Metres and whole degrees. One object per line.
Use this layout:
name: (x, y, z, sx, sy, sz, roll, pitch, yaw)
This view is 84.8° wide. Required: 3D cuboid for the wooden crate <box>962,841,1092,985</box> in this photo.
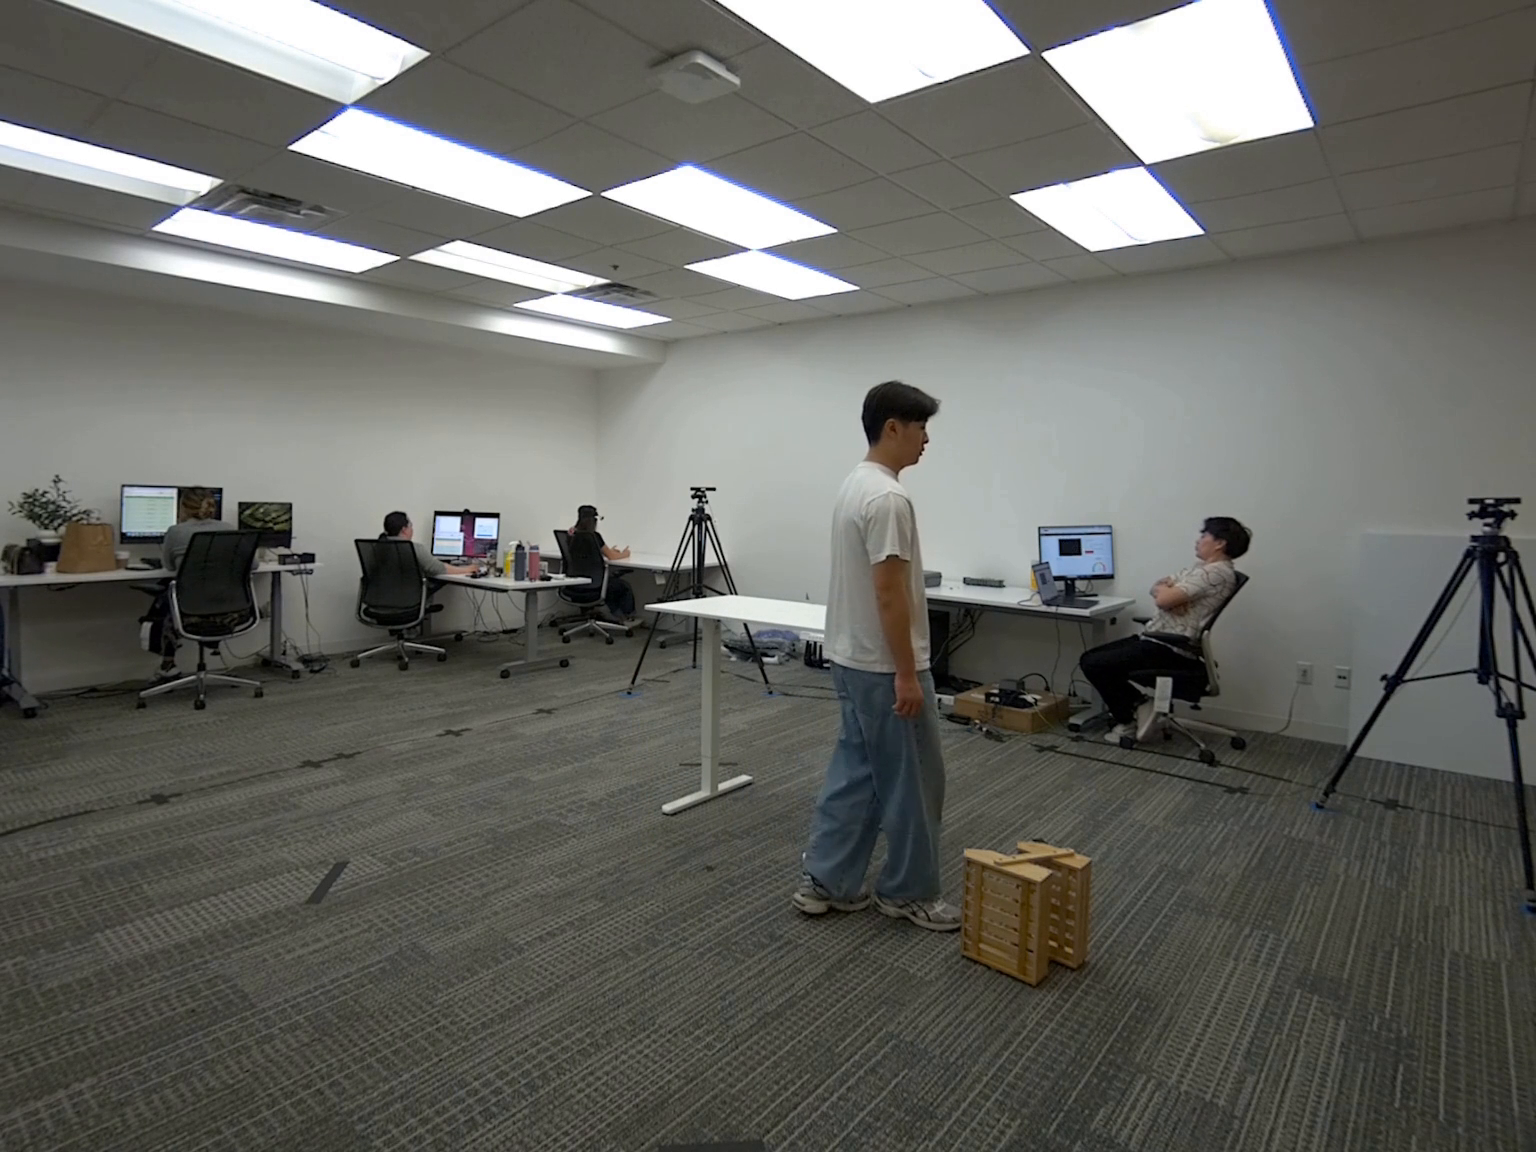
wooden crate: (0.766, 0.980, 2.553, 0.312, 0.323, 0.265, 6, 7, 41)
